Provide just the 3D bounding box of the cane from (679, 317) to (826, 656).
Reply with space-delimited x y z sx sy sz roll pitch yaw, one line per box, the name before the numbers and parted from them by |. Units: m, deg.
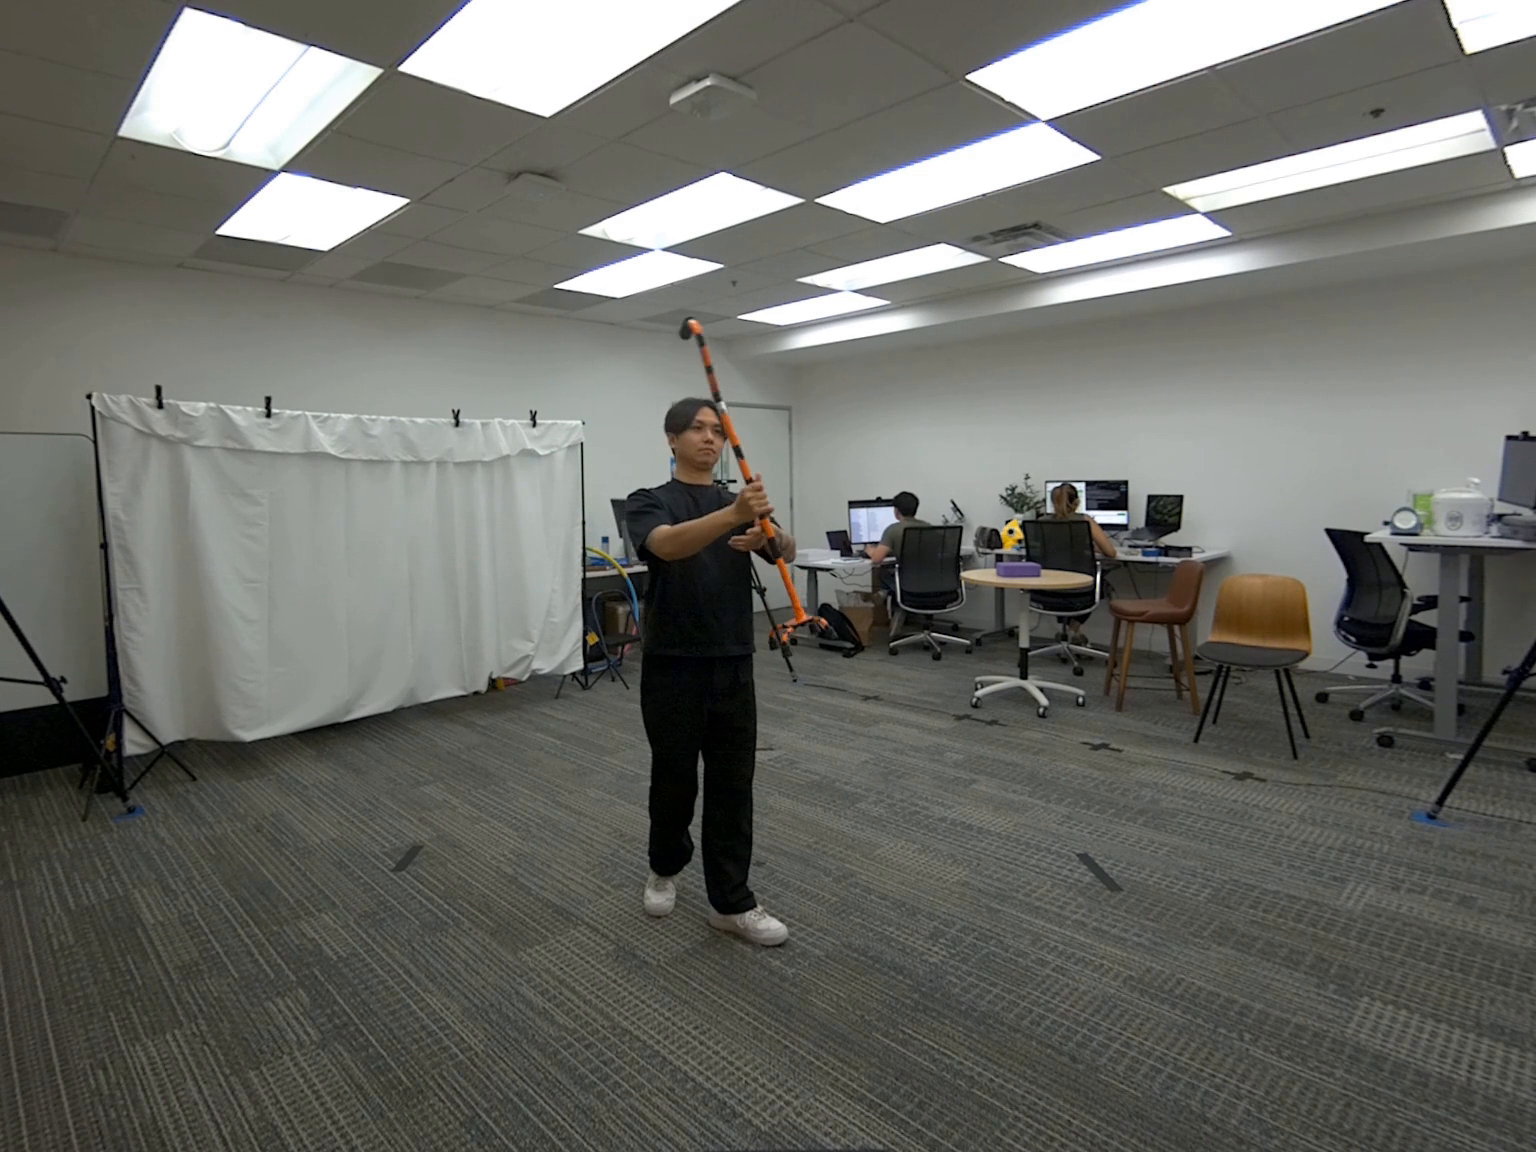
cane | -0.064 -0.238 2.252 0.151 0.906 0.208 -19 2 -10
